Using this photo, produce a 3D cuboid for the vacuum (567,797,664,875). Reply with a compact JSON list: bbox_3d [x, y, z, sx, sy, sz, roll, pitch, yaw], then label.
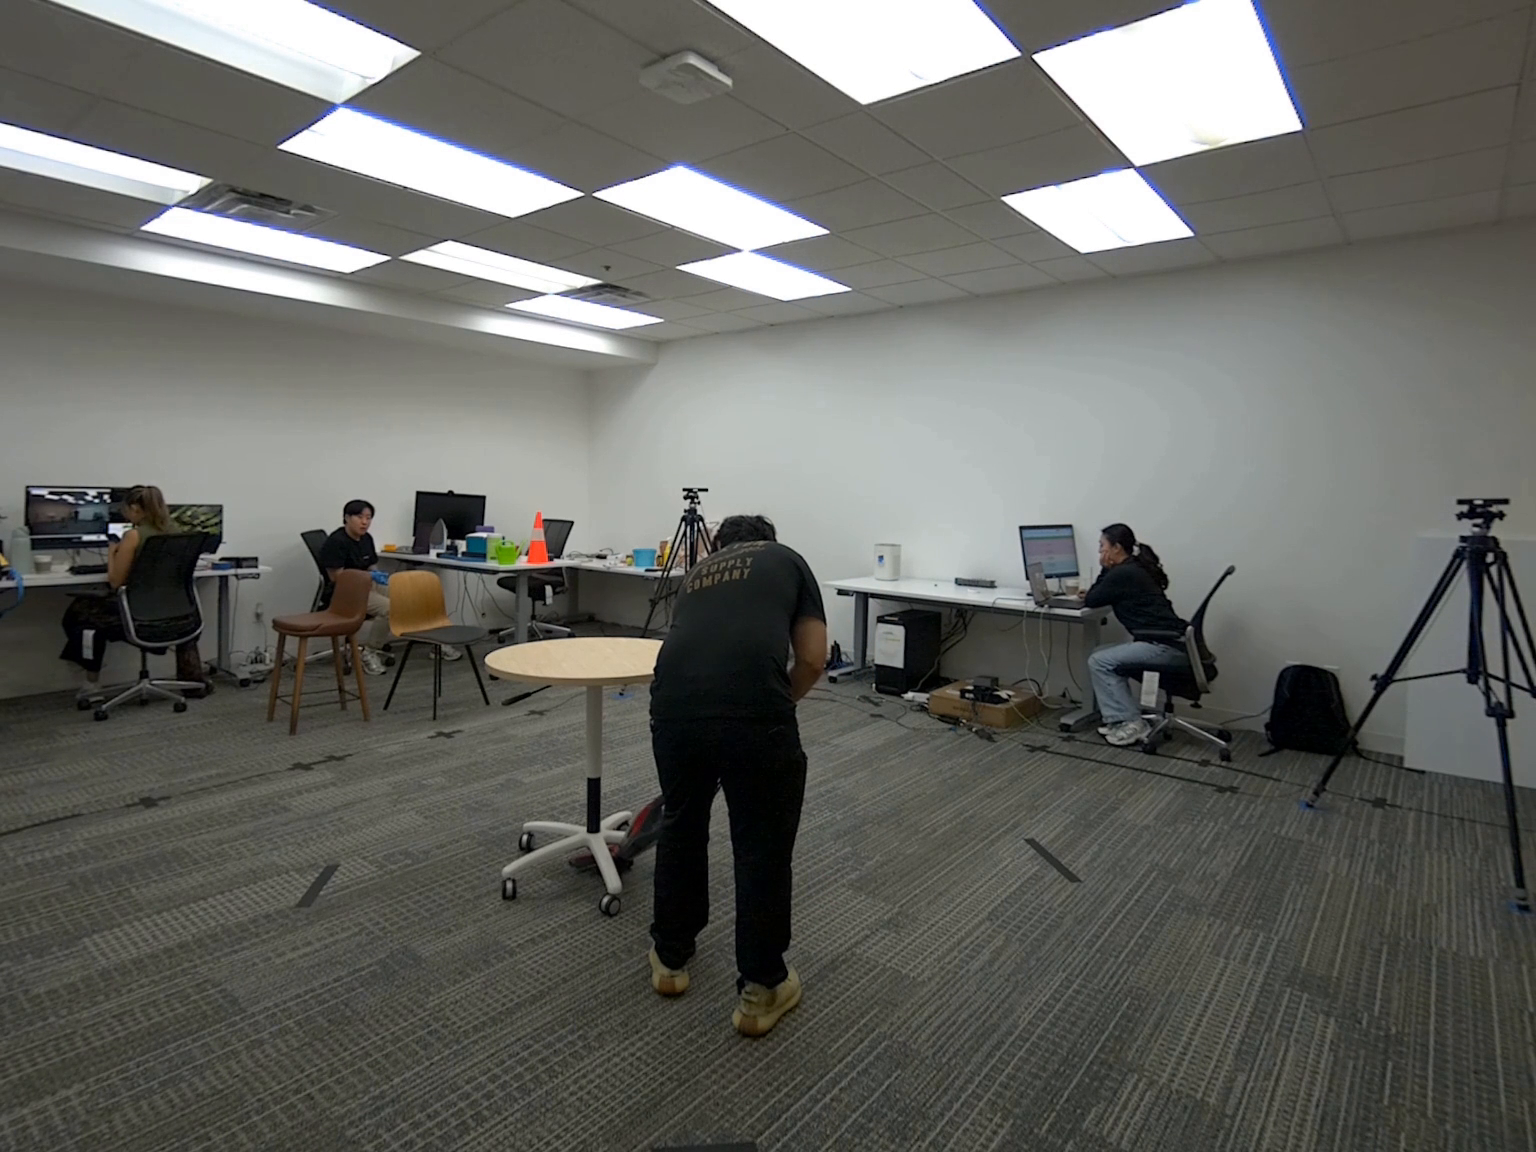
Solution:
[{"bbox_3d":[-0.293,0.734,2.783,0.247,0.147,1.052,-19,-18,-51],"label":"vacuum"}]
